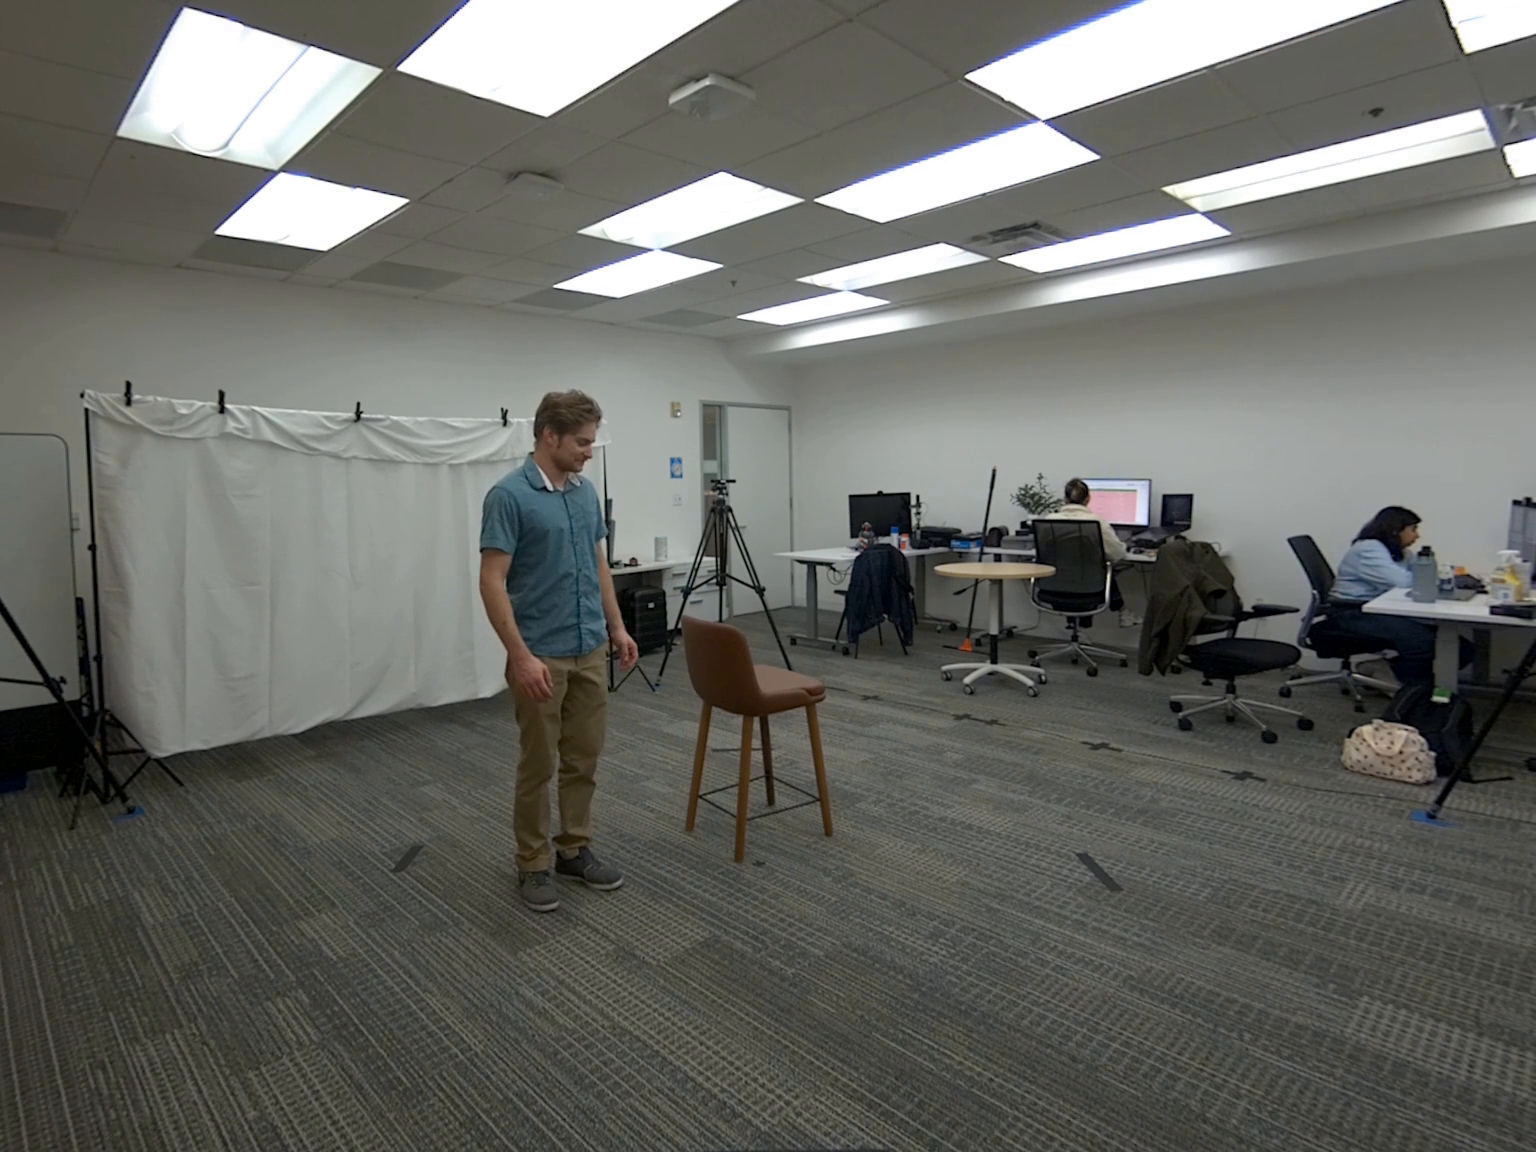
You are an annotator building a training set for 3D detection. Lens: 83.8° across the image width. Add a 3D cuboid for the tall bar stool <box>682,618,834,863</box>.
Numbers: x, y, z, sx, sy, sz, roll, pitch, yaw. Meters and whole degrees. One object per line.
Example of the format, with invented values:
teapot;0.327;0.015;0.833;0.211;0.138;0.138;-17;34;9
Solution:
tall bar stool;-0.054;0.585;3.362;0.456;0.885;0.470;-6;7;-35
